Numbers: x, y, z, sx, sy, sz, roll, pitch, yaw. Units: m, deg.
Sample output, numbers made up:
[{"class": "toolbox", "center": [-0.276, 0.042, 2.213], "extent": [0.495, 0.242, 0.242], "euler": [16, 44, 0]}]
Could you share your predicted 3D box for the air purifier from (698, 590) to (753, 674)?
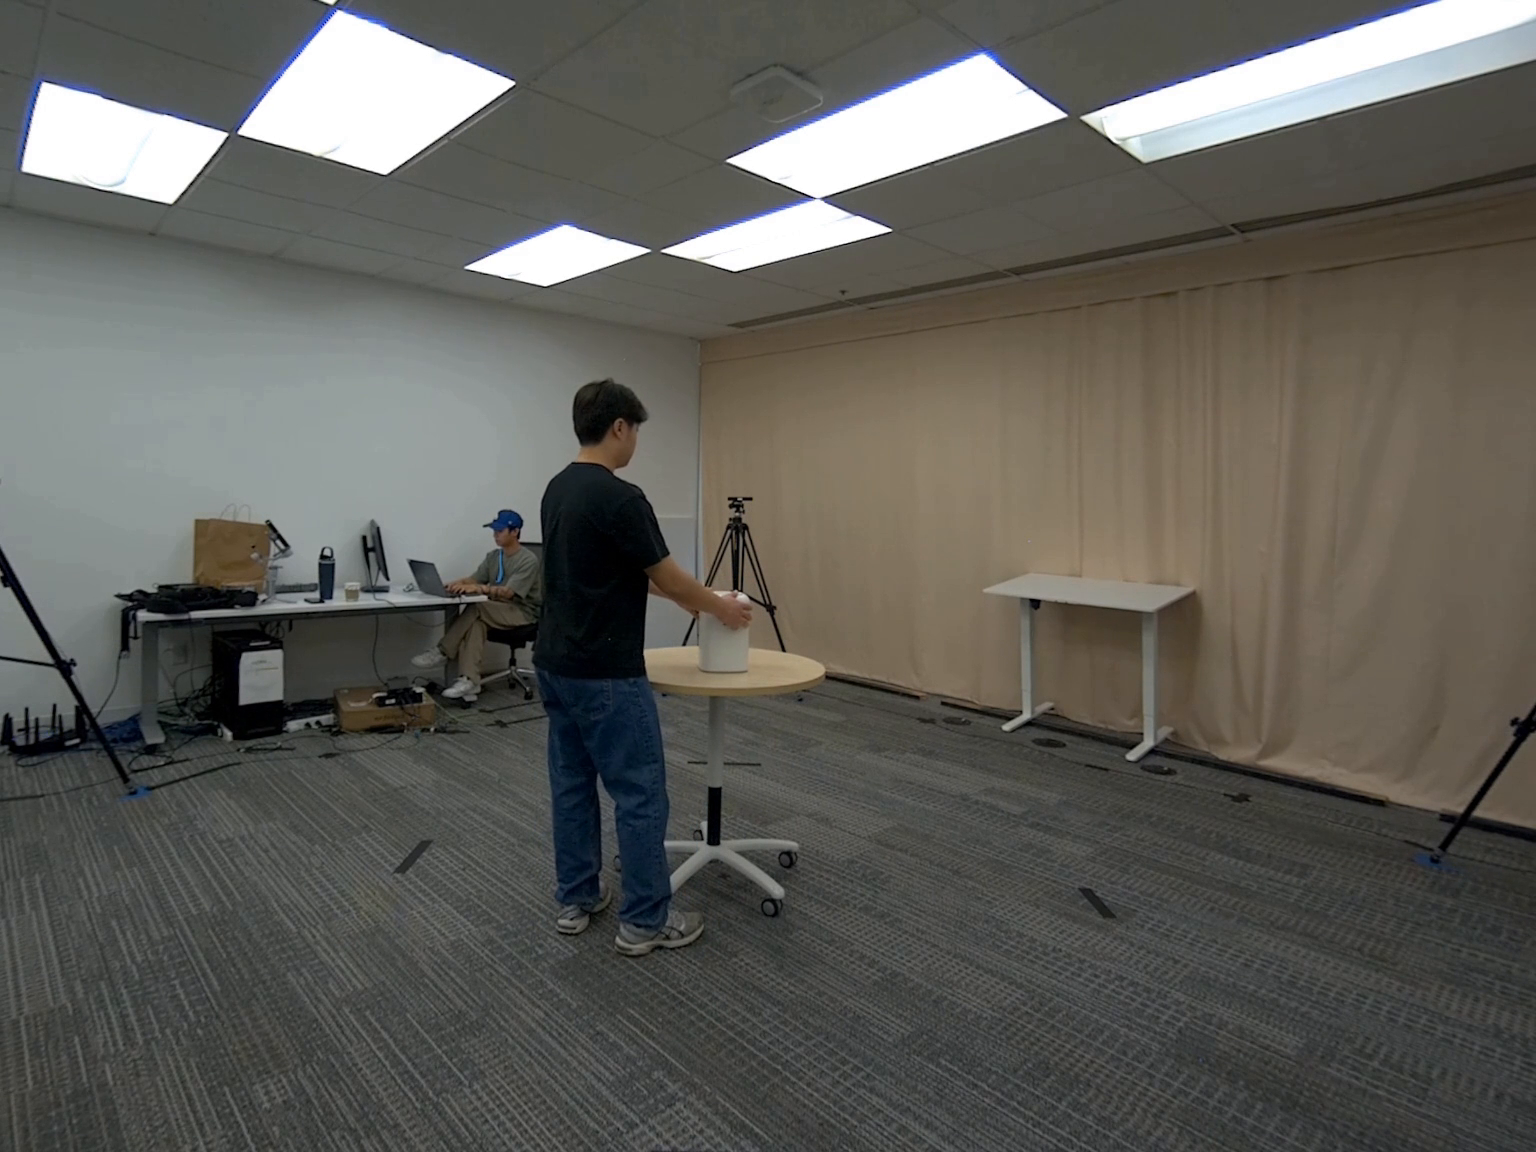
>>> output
[{"class": "air purifier", "center": [-0.159, 0.195, 2.944], "extent": [0.170, 0.264, 0.173], "euler": [0, 5, -6]}]
